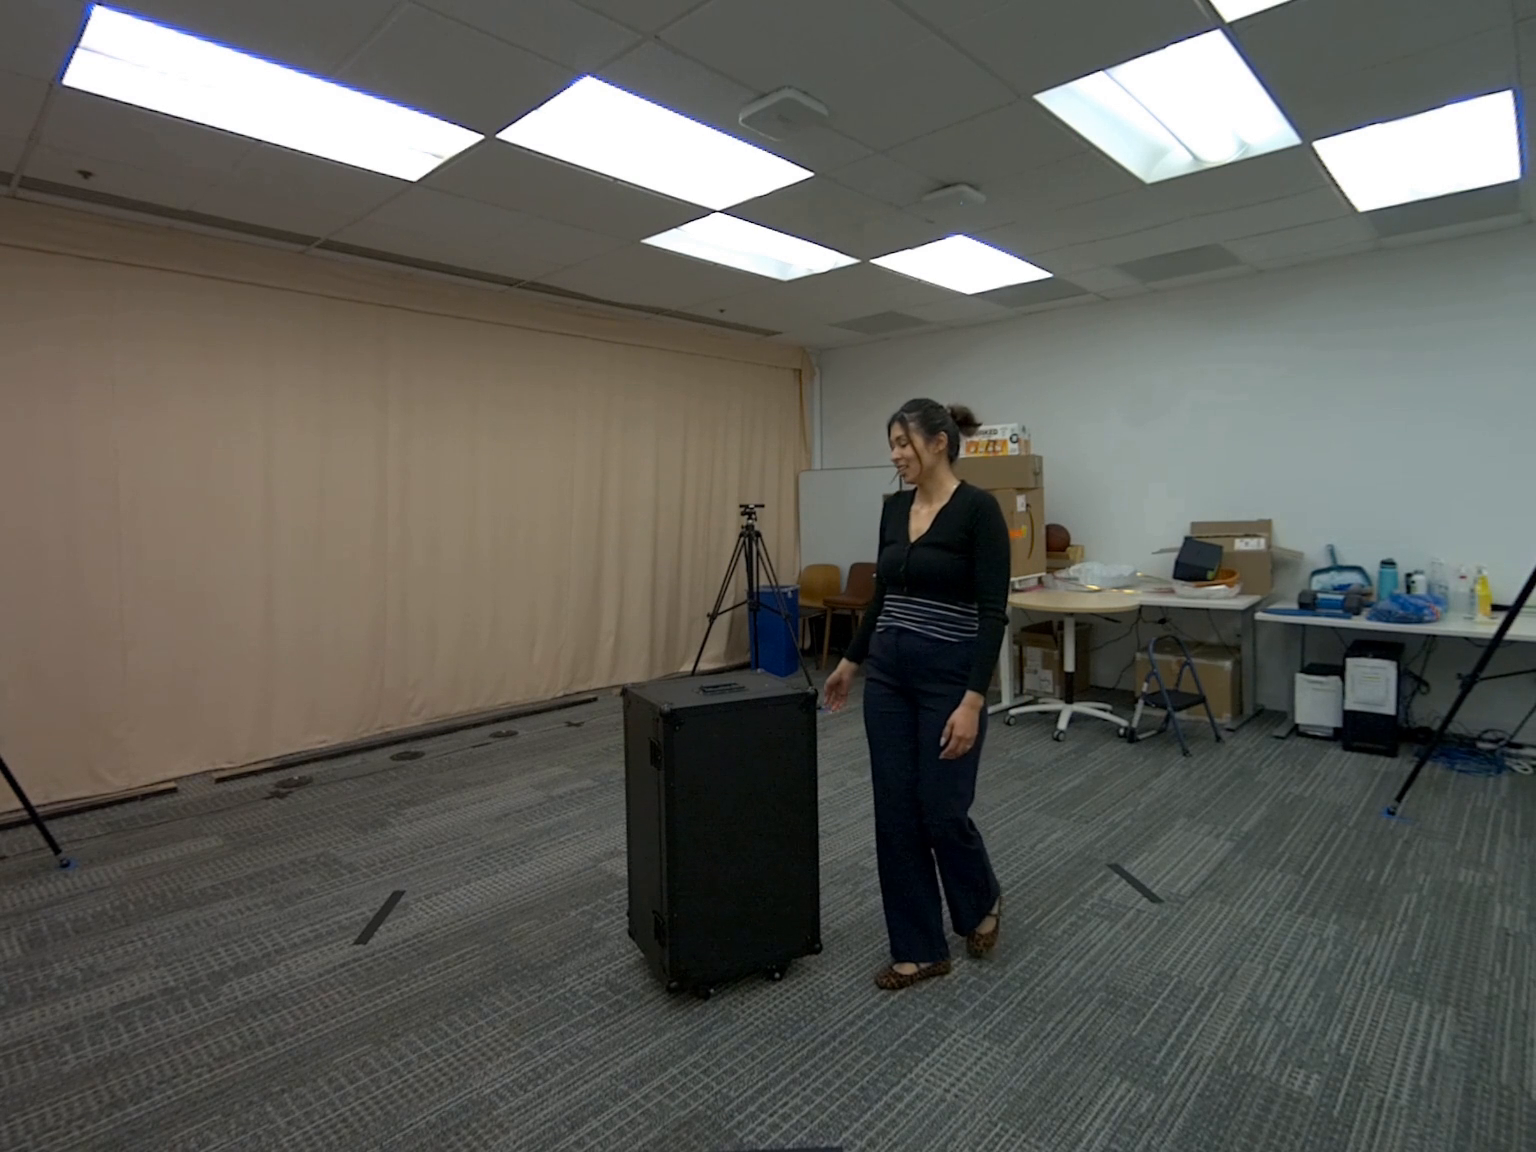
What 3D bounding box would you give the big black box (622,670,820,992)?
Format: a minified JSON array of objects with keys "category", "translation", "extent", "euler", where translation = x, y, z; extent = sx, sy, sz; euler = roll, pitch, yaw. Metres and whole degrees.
[{"category":"big black box","translation":[-0.150,0.756,2.532],"extent":[0.509,0.860,0.406],"euler":[-3,3,-26]}]
